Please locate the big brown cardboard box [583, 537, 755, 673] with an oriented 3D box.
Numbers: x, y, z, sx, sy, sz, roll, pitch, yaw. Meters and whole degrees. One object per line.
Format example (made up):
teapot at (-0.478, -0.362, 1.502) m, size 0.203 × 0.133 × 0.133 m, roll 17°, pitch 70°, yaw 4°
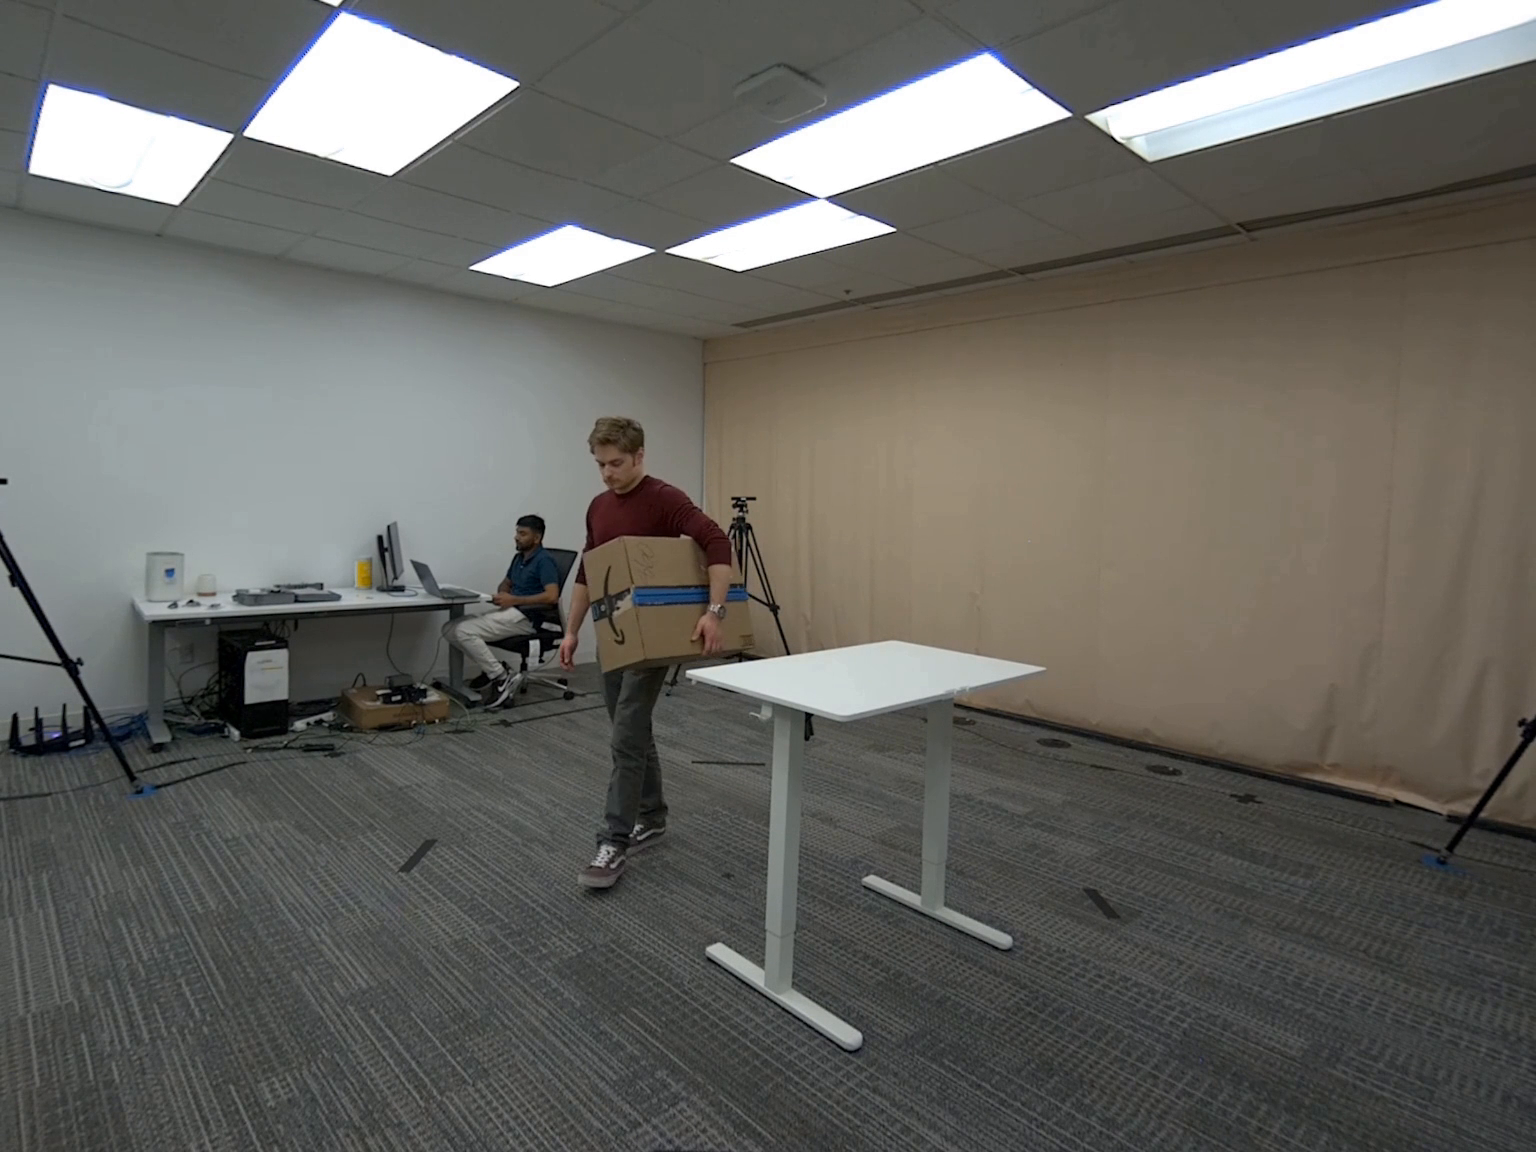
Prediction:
big brown cardboard box at (-0.339, 0.098, 2.987) m, size 0.236 × 0.422 × 0.575 m, roll -22°, pitch -13°, yaw 38°
